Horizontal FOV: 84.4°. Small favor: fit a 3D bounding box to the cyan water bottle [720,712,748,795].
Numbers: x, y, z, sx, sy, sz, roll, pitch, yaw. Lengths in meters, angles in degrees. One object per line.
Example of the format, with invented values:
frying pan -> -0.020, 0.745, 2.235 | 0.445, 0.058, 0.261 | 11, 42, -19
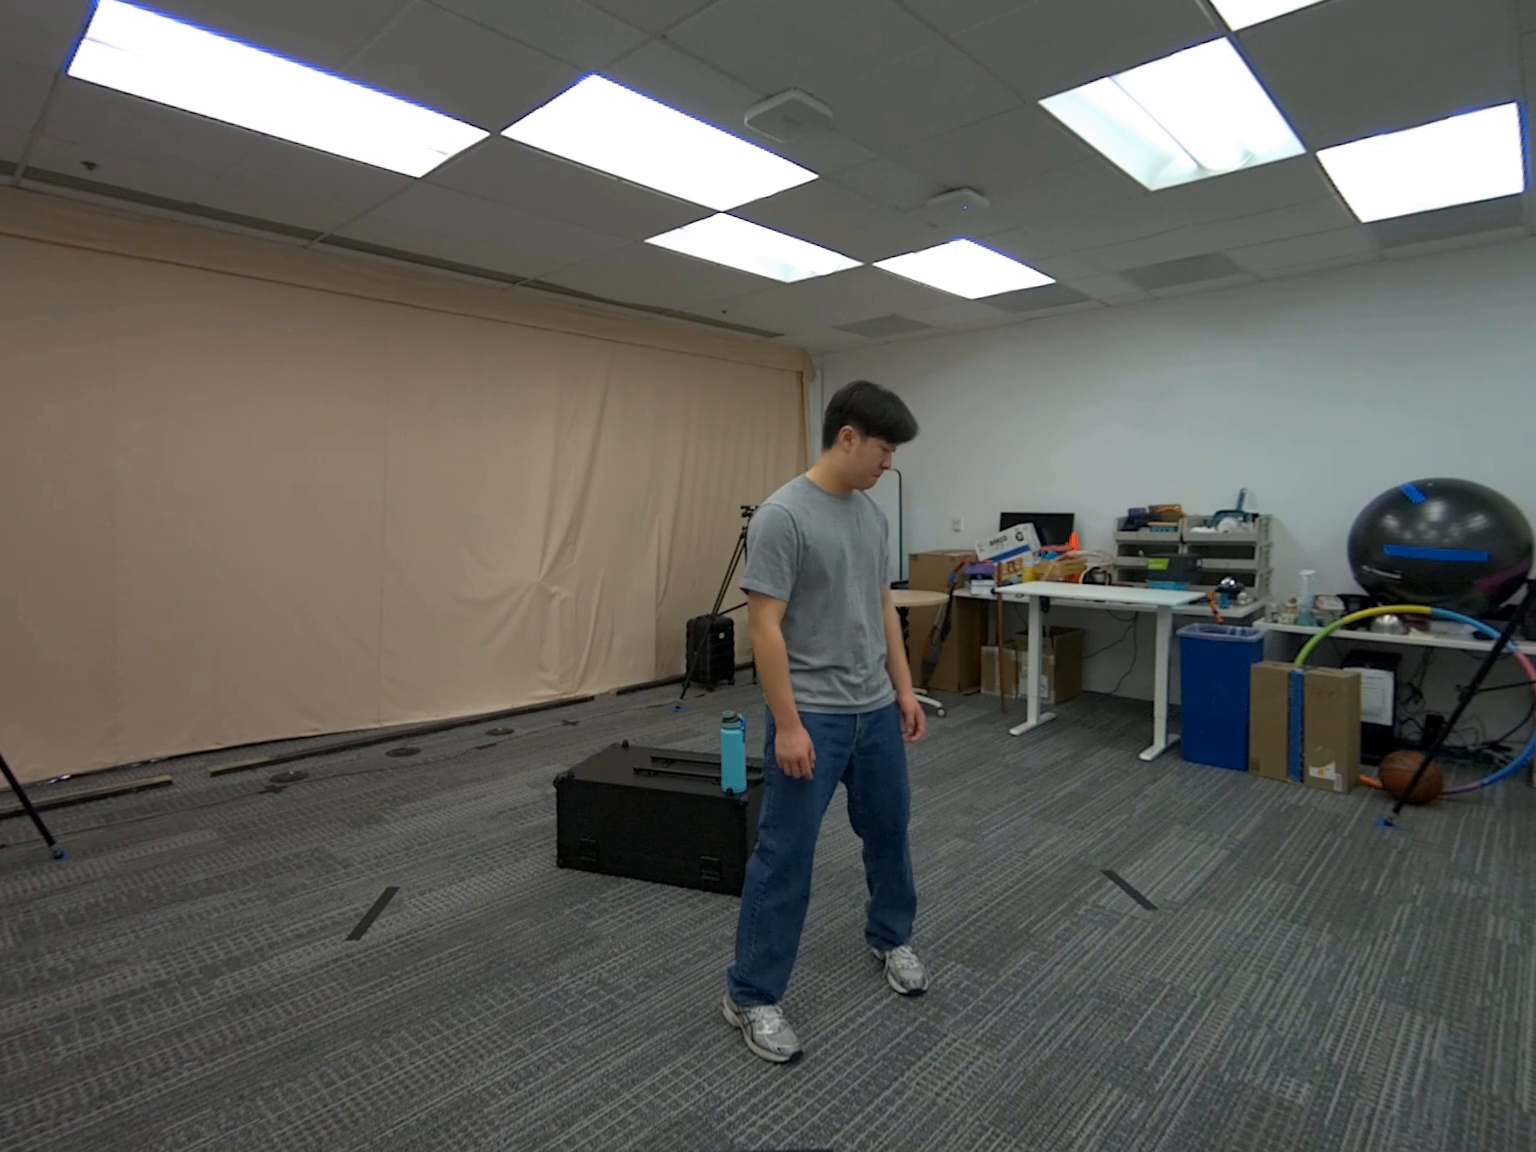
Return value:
cyan water bottle -> -0.123, 0.638, 3.064 | 0.092, 0.283, 0.092 | 0, 2, -2
